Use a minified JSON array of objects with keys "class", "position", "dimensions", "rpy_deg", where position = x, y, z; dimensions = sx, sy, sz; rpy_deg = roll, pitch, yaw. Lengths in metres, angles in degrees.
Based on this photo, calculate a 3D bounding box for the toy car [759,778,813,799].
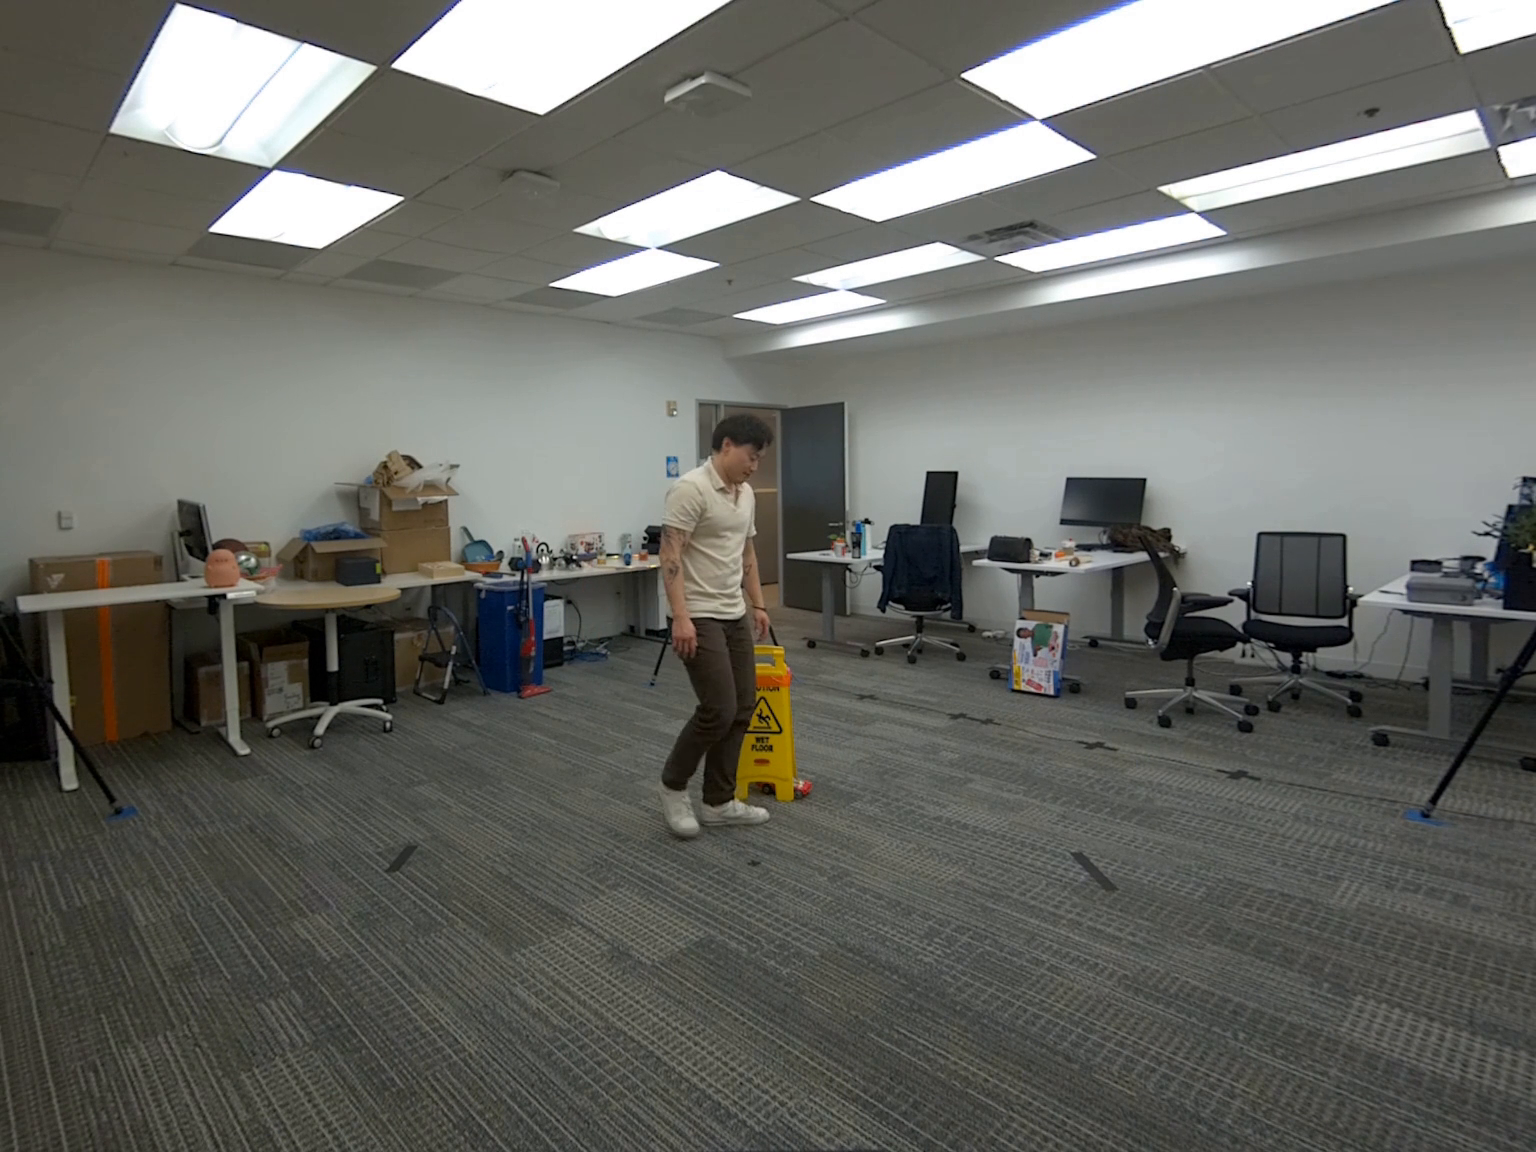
[{"class":"toy car","position":[0.062,0.940,3.821],"dimensions":[0.261,0.082,0.128],"rpy_deg":[15,11,23]}]
